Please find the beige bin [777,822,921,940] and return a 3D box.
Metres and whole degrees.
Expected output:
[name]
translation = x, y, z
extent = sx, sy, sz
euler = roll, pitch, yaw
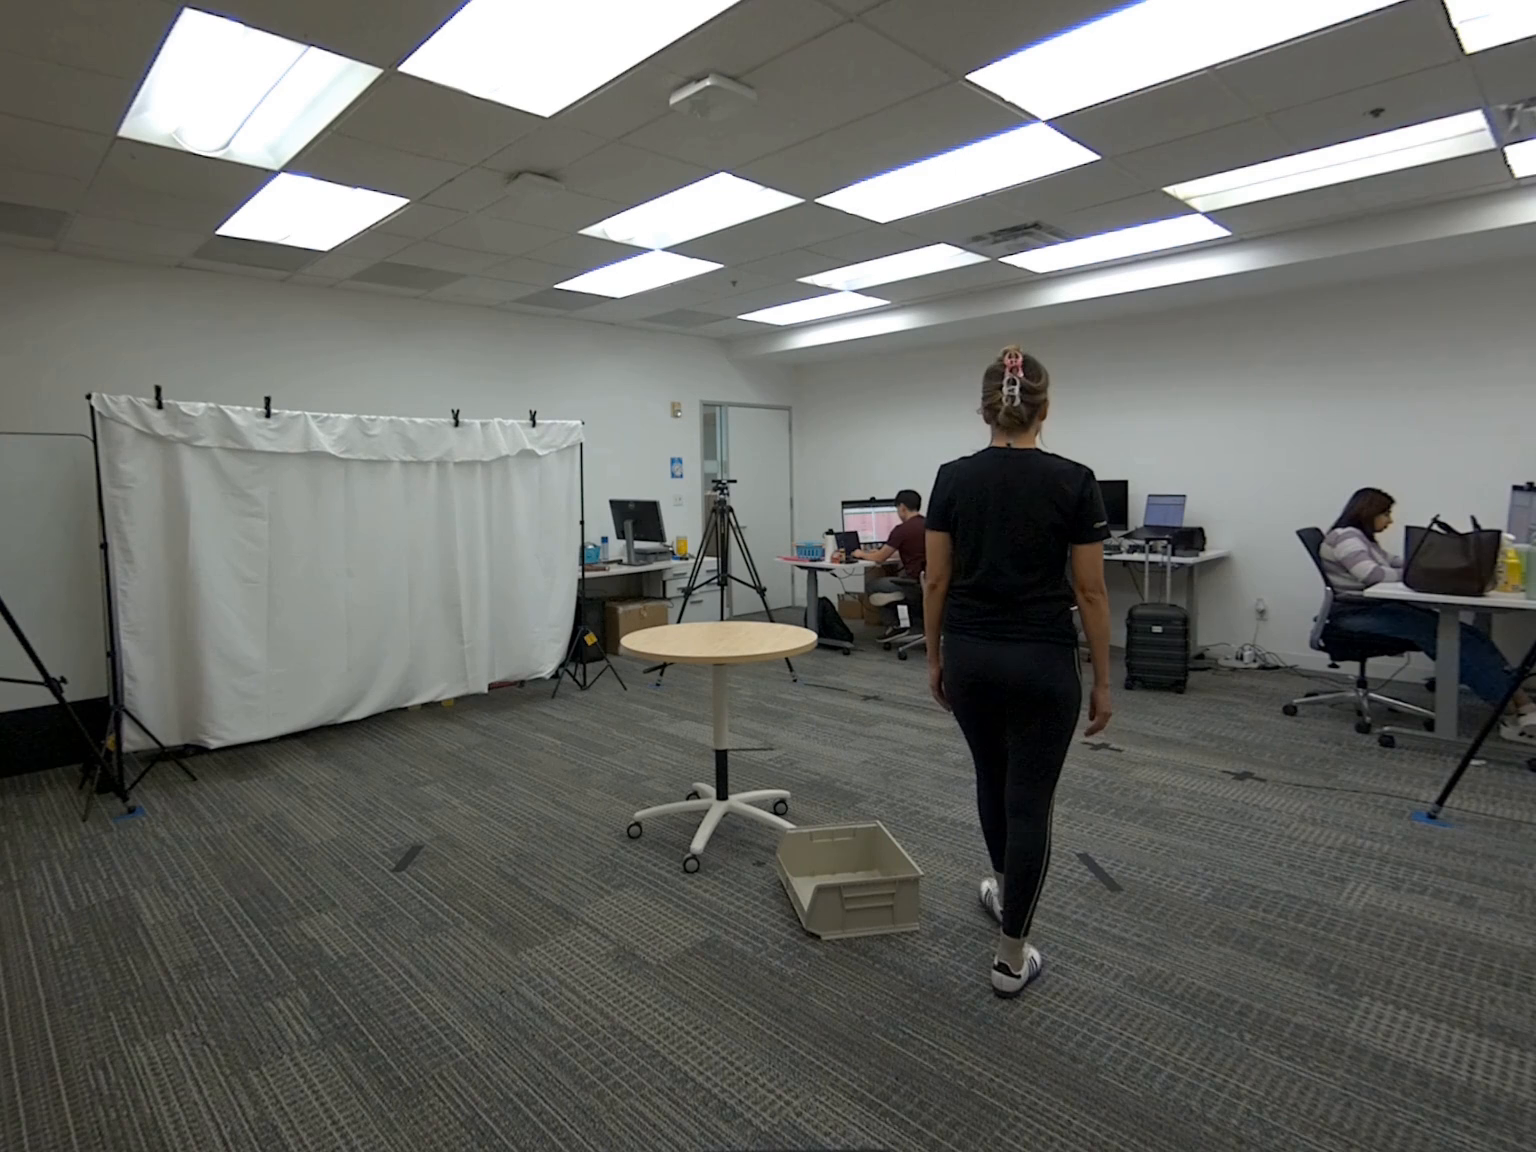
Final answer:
[beige bin]
translation = 0.259, 0.992, 2.801
extent = 0.373, 0.188, 0.428
euler = -2, 6, -11
